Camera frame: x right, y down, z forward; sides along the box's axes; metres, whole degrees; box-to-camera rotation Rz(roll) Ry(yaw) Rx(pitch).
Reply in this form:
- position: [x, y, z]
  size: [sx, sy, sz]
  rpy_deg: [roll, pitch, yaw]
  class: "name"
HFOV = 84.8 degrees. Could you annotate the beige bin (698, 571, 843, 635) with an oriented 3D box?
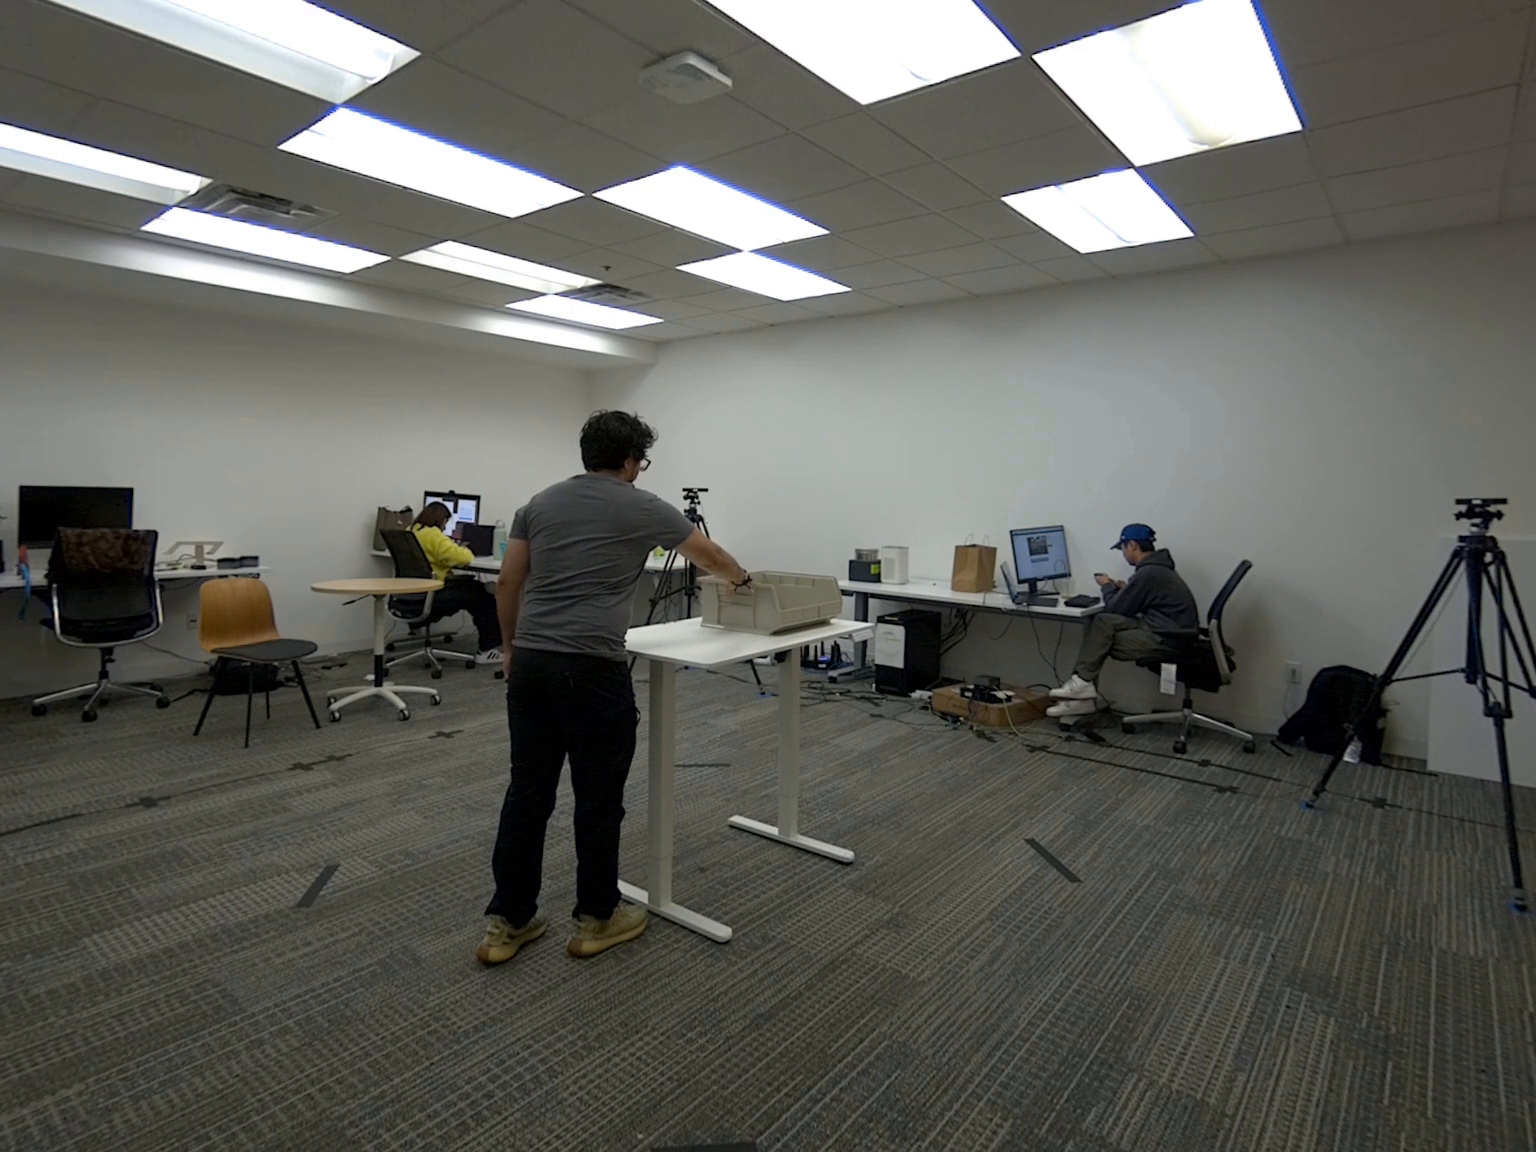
- position: [0.005, 0.094, 3.189]
  size: [0.389, 0.188, 0.410]
  rpy_deg: [3, 6, 38]
  class: "beige bin"
